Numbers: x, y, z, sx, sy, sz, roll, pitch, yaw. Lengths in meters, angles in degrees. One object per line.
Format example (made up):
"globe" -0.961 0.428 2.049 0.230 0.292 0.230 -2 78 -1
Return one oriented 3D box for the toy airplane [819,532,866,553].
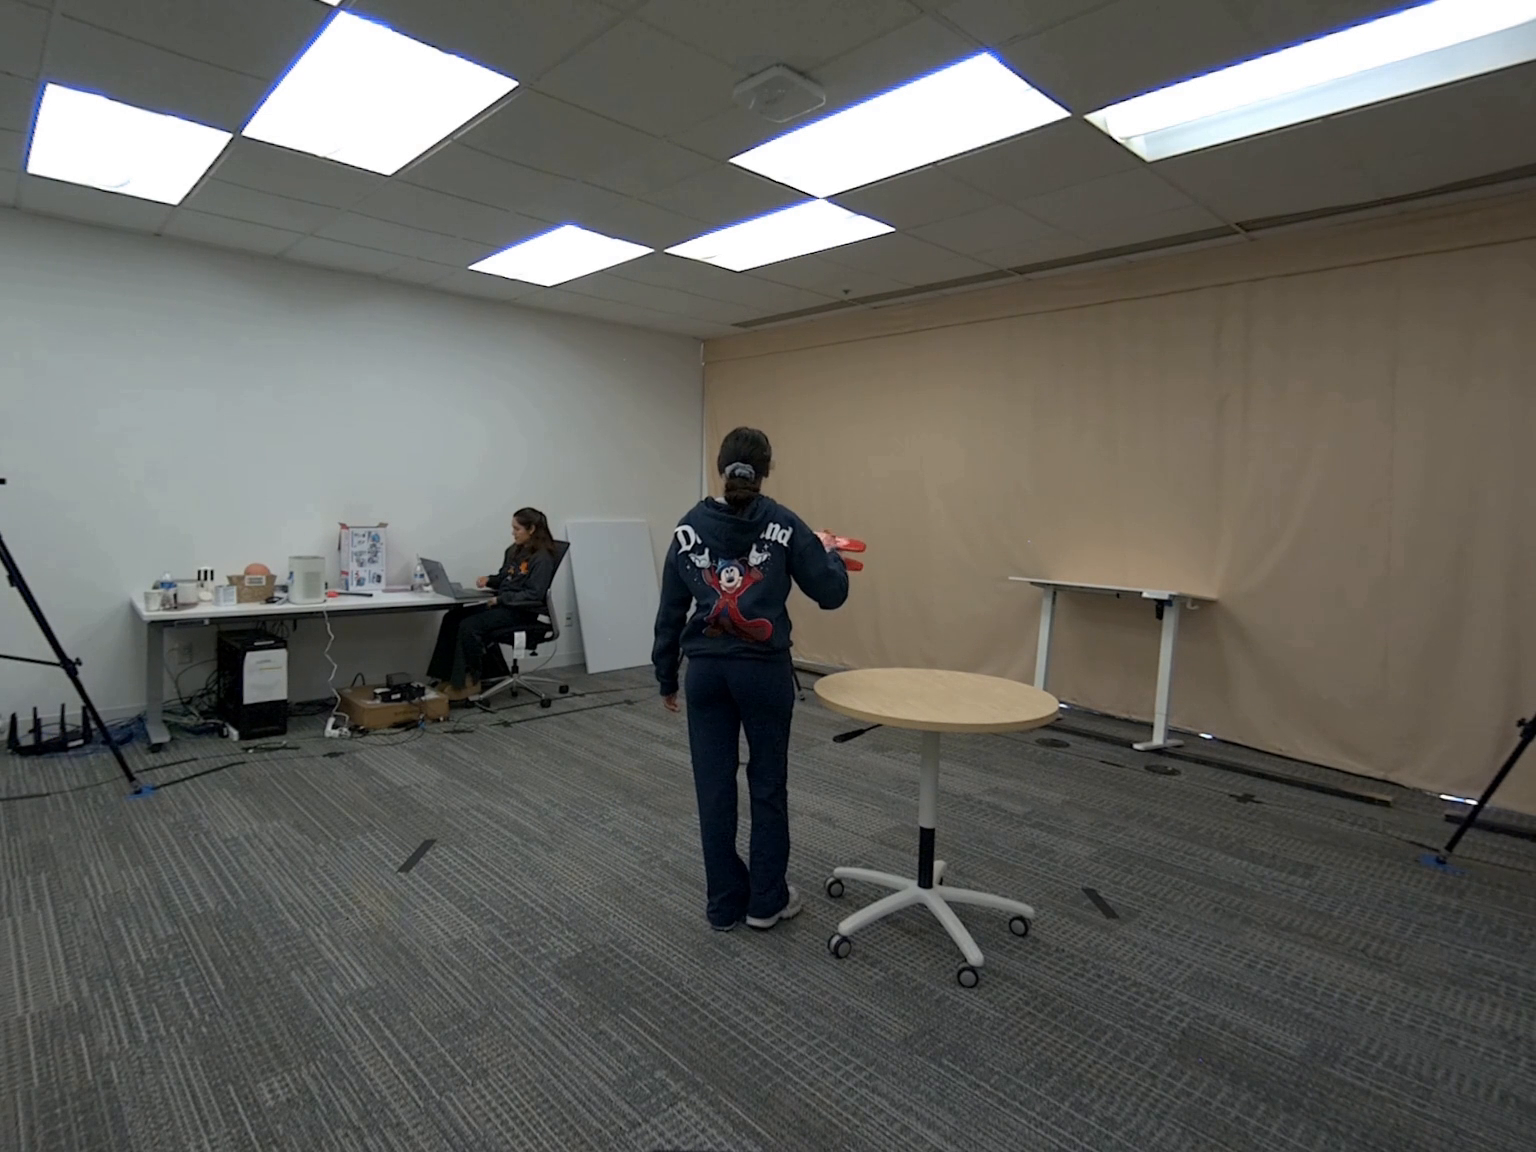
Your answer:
"toy airplane" 0.242 -0.059 3.056 0.248 0.155 0.264 7 13 -16
